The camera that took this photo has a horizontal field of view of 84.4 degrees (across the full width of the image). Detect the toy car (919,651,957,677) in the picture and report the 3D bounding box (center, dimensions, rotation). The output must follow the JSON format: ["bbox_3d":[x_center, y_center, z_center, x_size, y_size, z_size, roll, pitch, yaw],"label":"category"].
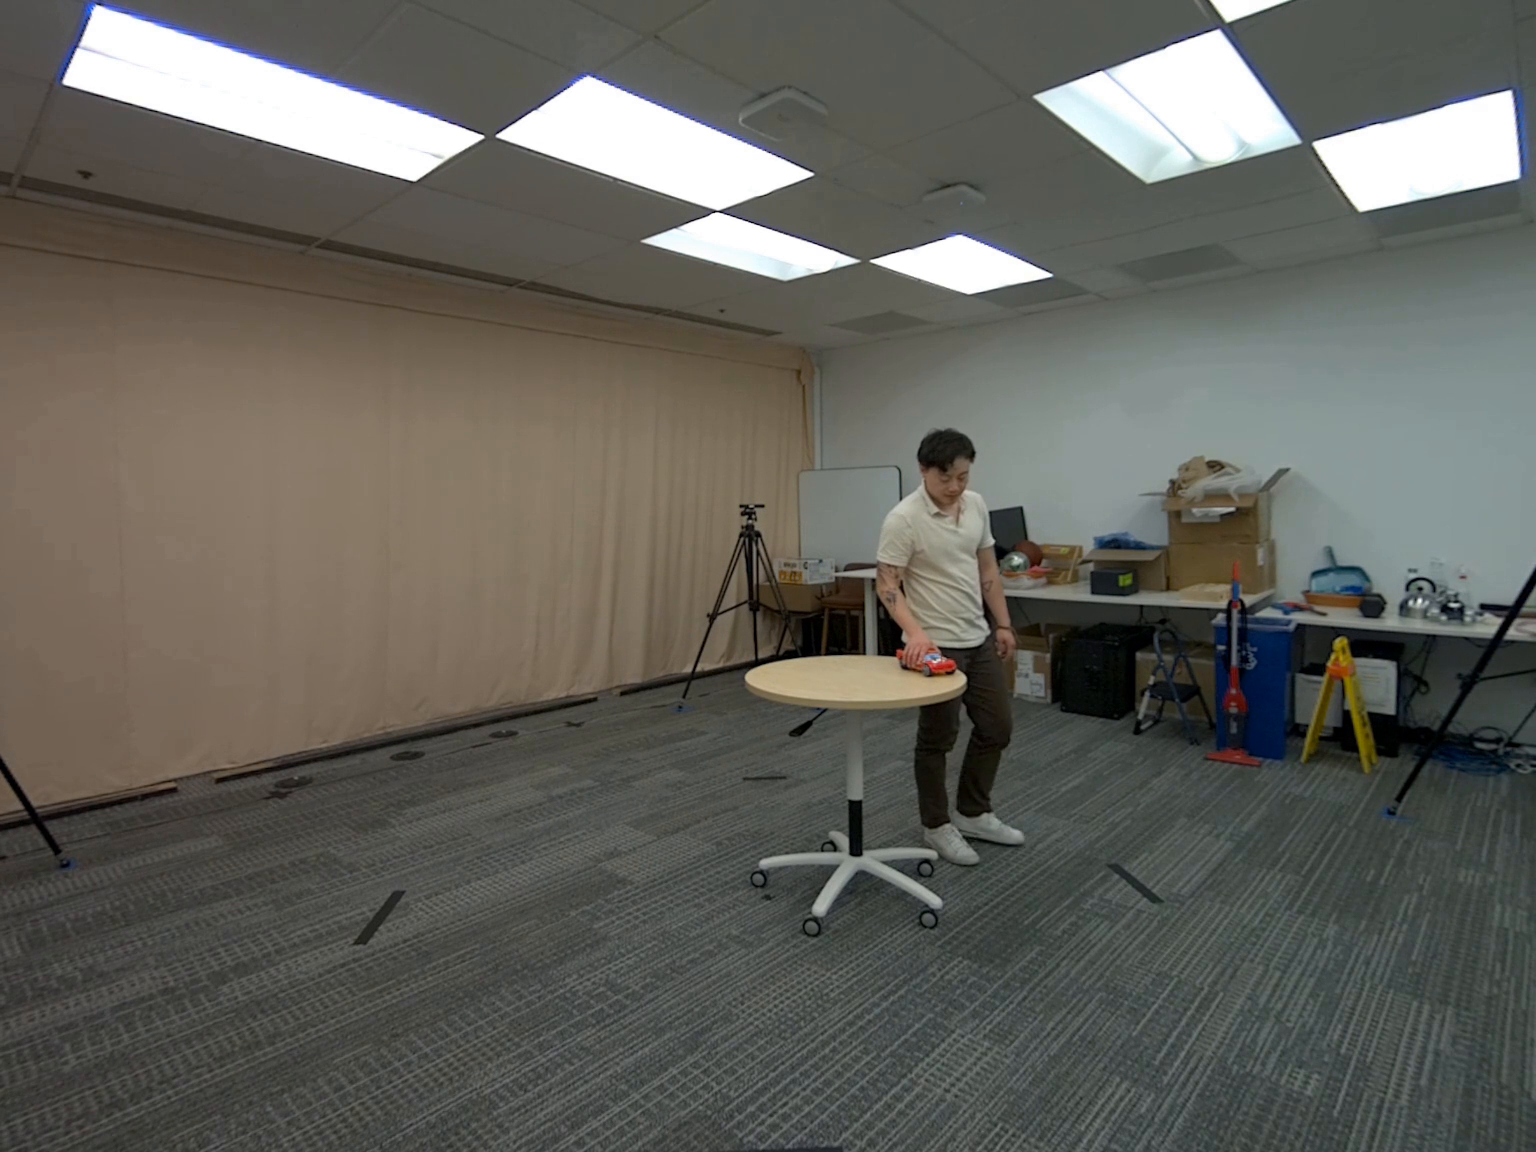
[{"bbox_3d":[0.565,0.305,3.014,0.128,0.083,0.261,-2,12,-20],"label":"toy car"}]
